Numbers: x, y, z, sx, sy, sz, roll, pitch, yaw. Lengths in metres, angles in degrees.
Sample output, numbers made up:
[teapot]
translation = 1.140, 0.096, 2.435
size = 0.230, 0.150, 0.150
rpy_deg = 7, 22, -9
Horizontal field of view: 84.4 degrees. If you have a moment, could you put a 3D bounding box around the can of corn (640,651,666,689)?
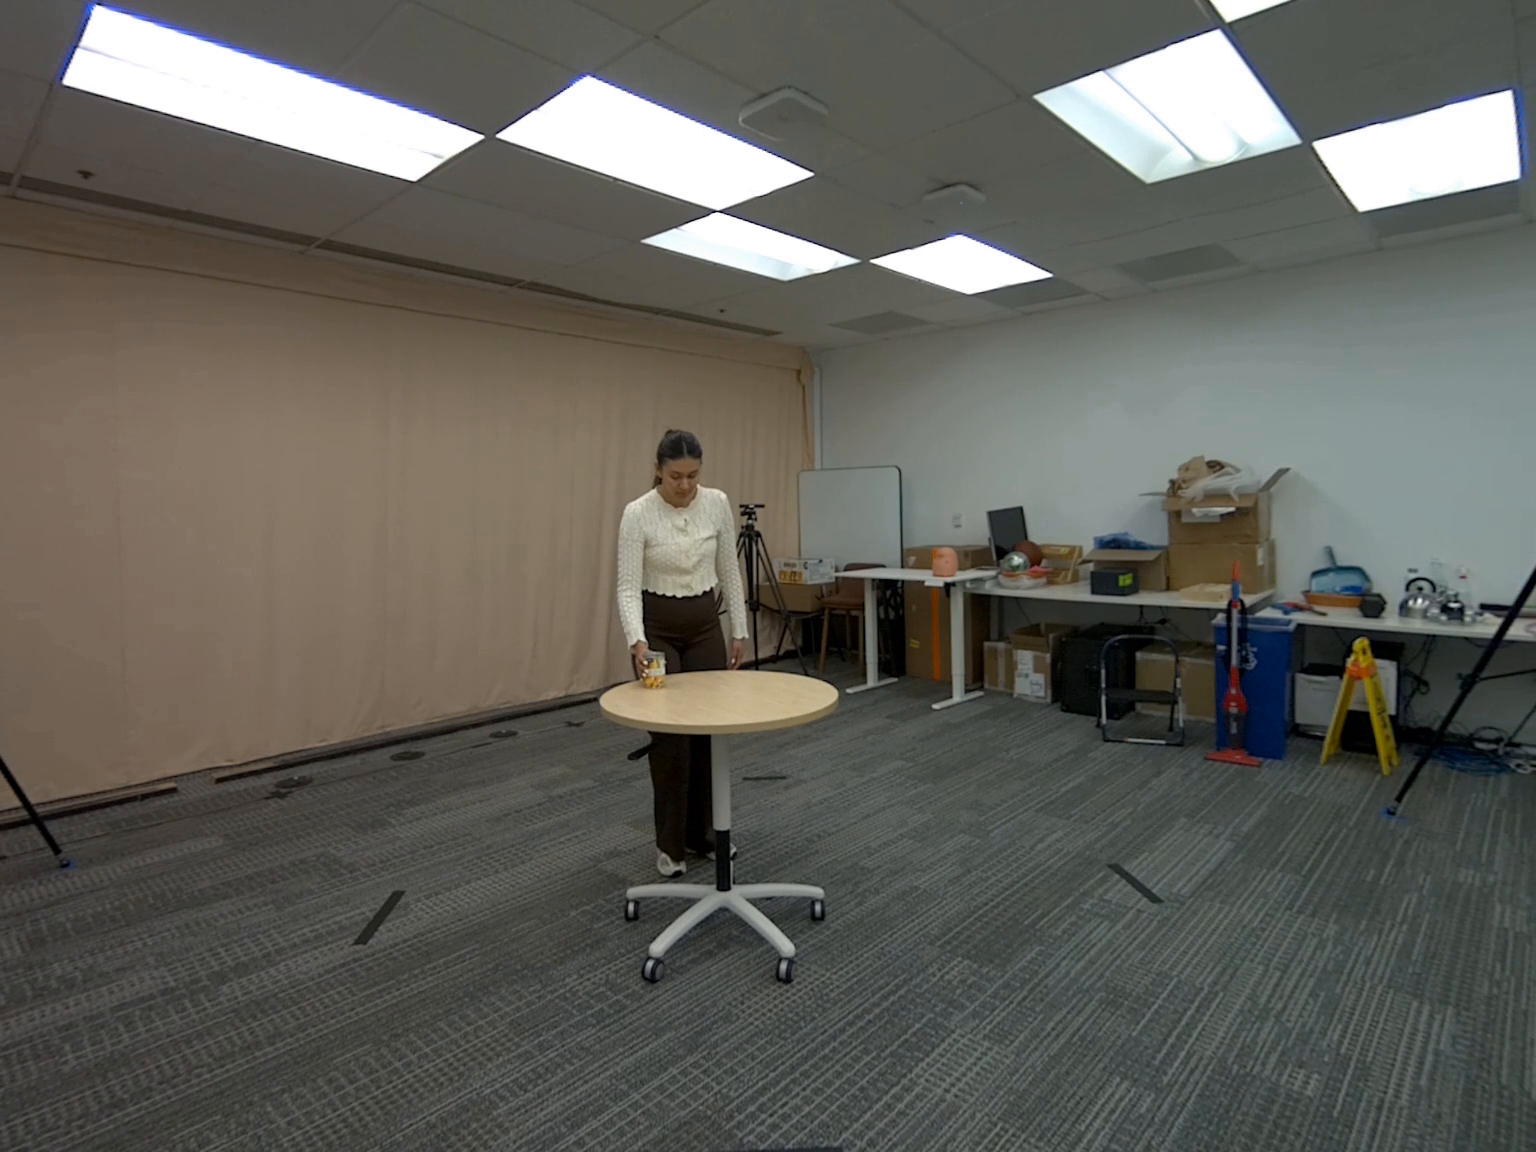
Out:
[can of corn]
translation = -0.389, 0.321, 2.860
size = 0.074, 0.111, 0.074
rpy_deg = 2, 1, -2
